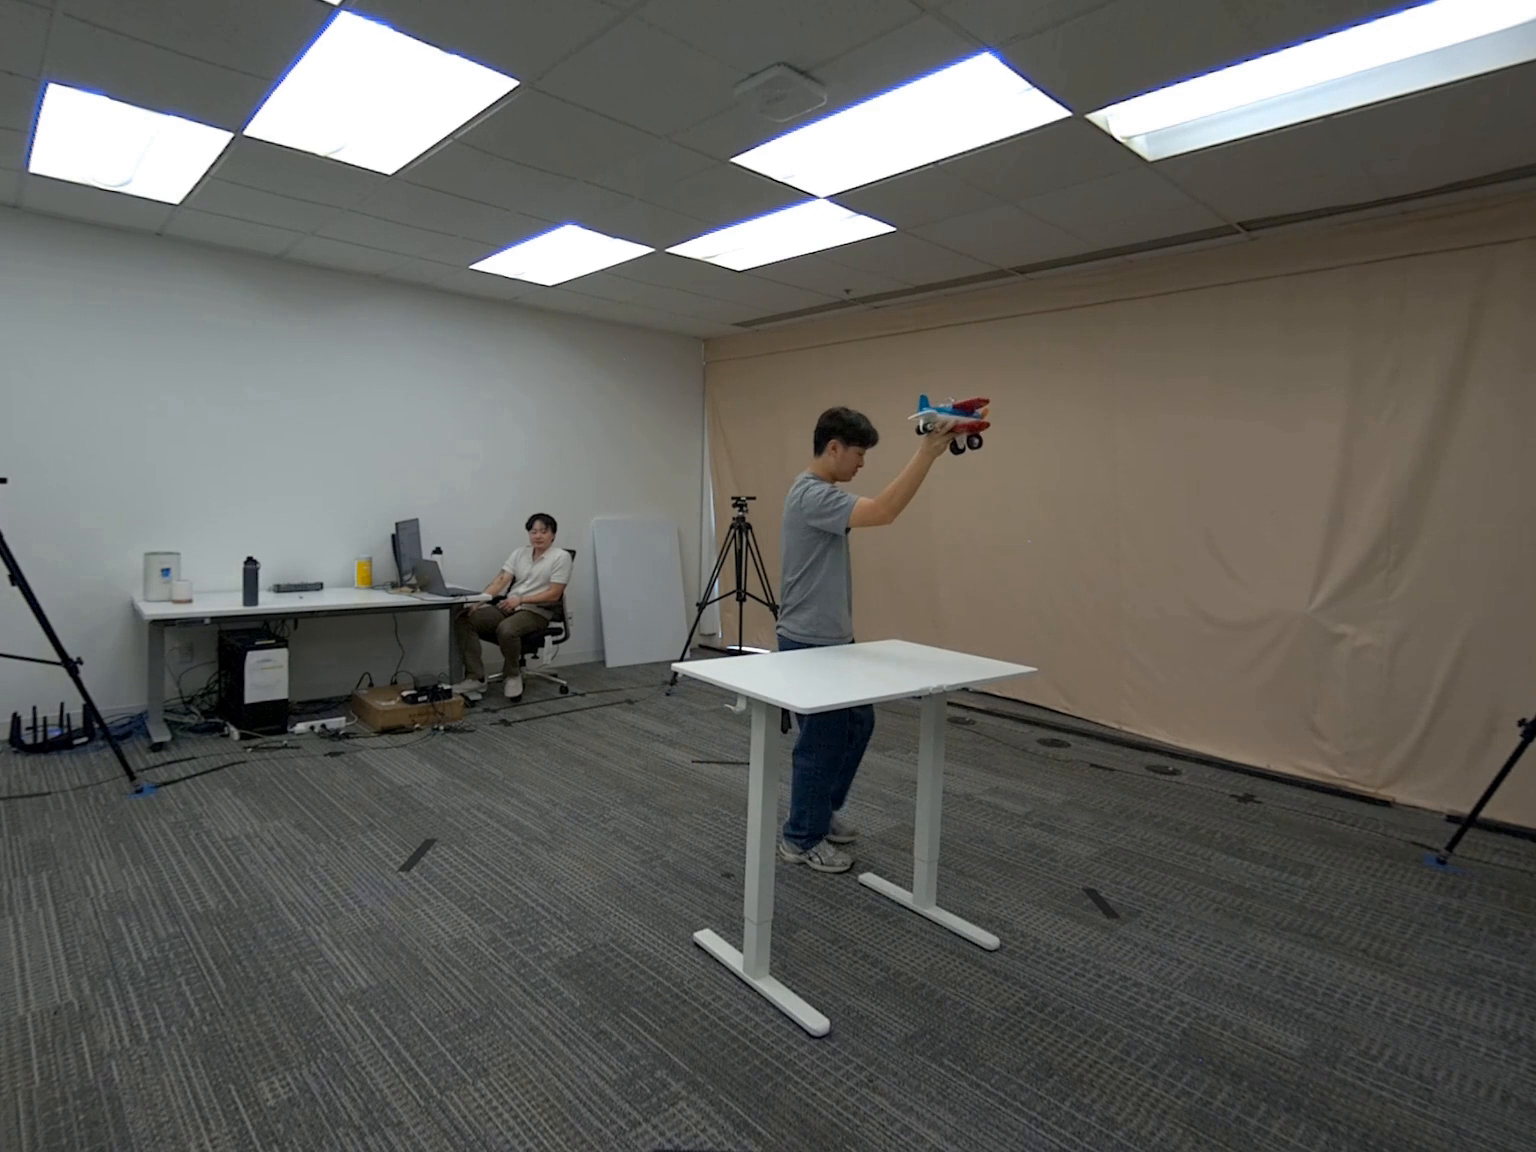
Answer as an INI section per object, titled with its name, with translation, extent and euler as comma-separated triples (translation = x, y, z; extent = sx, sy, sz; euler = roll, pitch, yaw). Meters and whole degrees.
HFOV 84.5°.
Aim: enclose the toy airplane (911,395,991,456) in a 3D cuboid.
[toy airplane]
translation = 0.604, -0.512, 2.797
extent = 0.257, 0.157, 0.251
euler = 4, -16, 38
